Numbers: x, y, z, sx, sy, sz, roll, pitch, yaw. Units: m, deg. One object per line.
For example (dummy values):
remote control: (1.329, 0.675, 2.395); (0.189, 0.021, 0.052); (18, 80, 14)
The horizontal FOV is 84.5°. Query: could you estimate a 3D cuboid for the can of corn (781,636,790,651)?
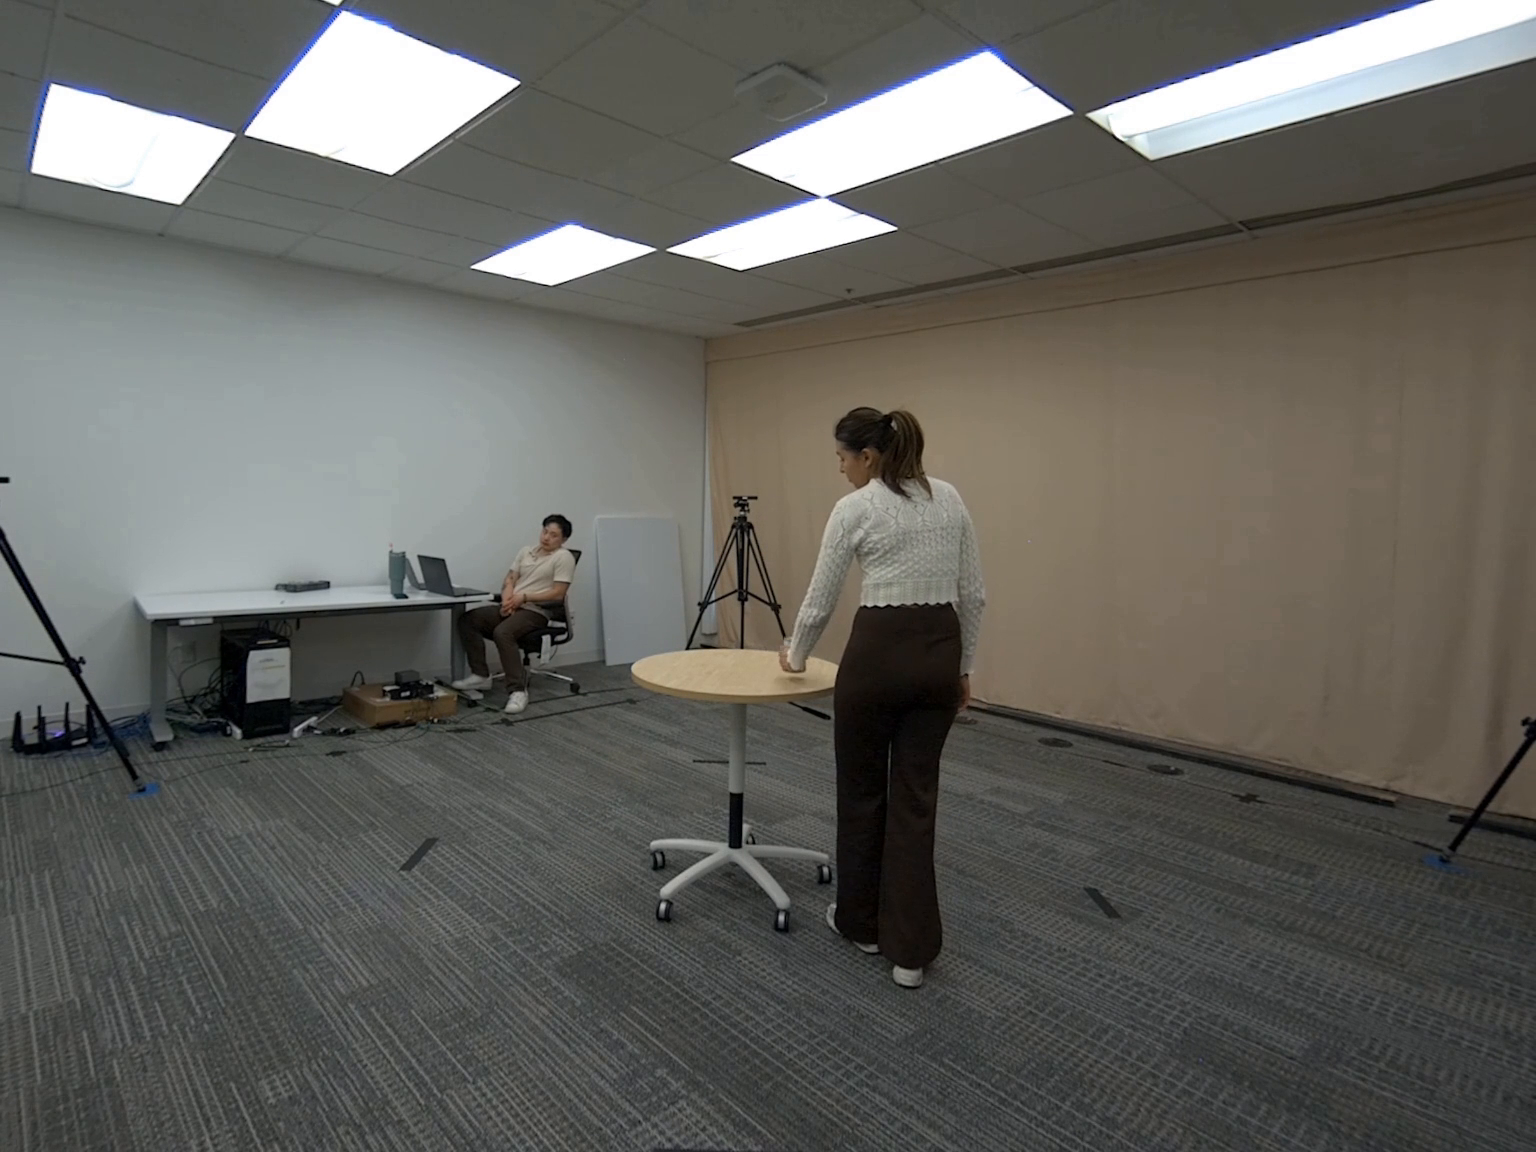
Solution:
can of corn: (0.086, 0.268, 2.838); (0.074, 0.110, 0.074); (-1, 8, -1)
